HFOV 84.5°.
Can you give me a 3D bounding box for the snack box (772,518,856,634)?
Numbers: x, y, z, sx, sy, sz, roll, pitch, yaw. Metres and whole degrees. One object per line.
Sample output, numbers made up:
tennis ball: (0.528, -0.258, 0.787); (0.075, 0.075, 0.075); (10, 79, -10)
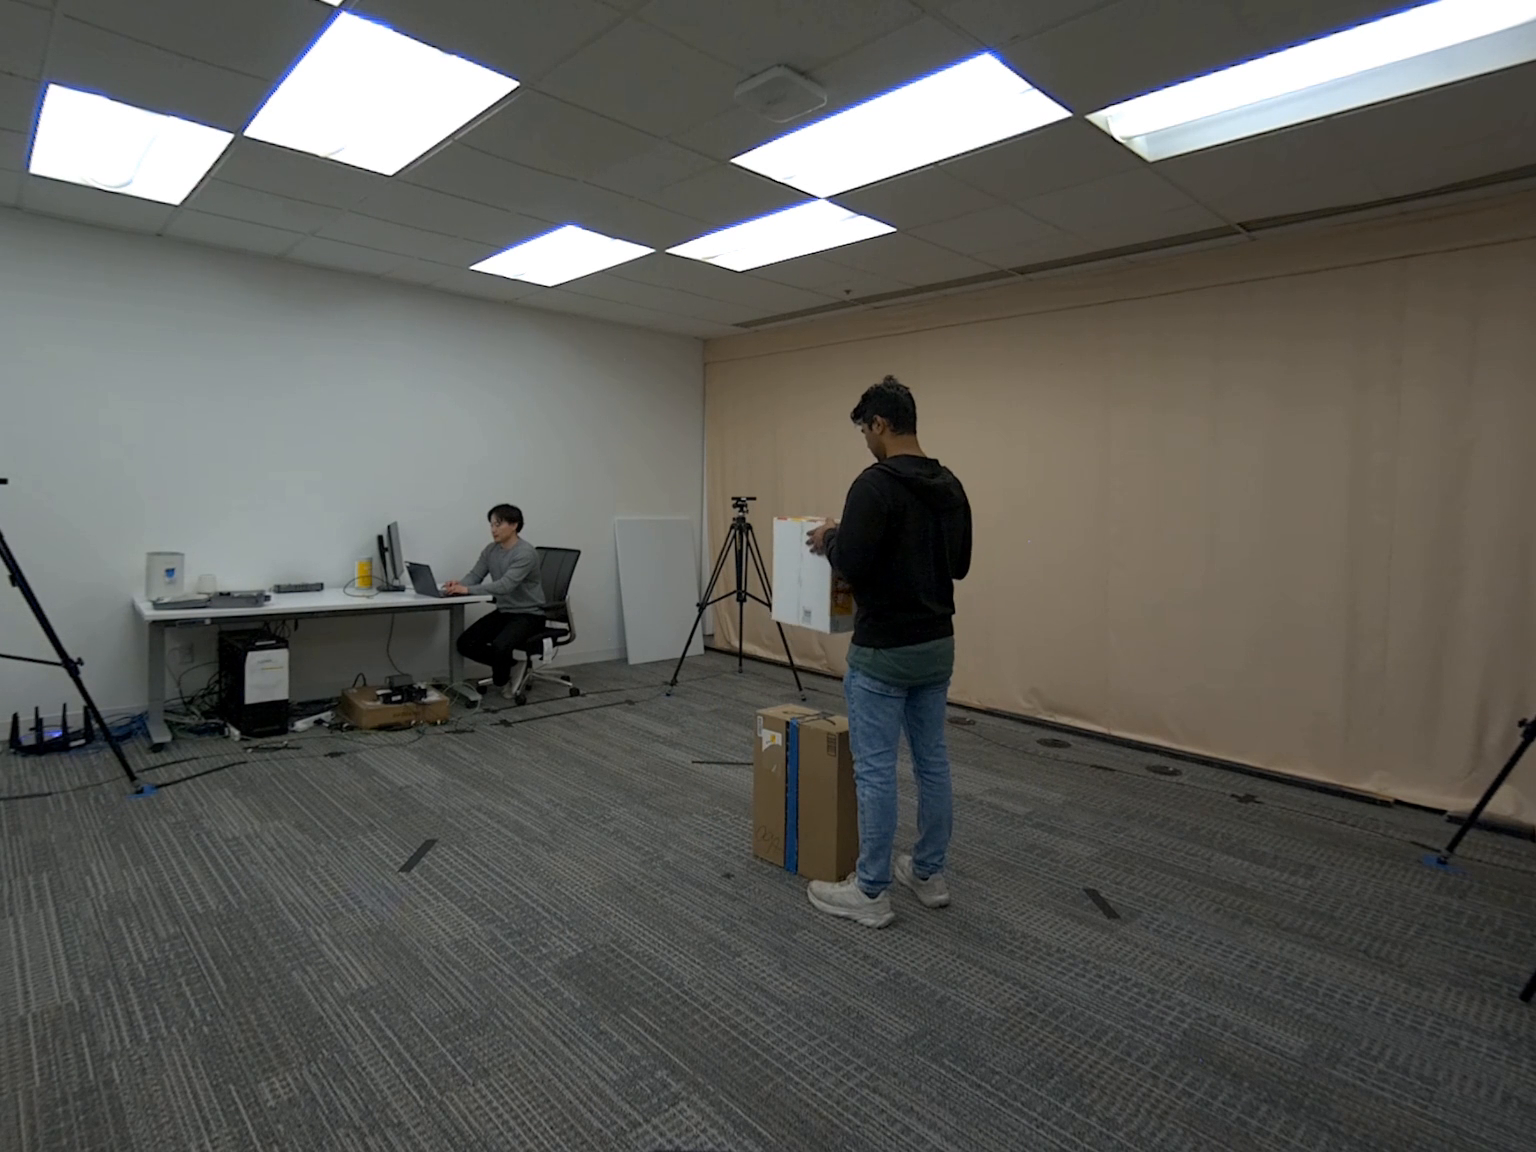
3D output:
snack box: (0.194, 0.002, 3.199); (0.201, 0.403, 0.349); (-3, 8, -37)
